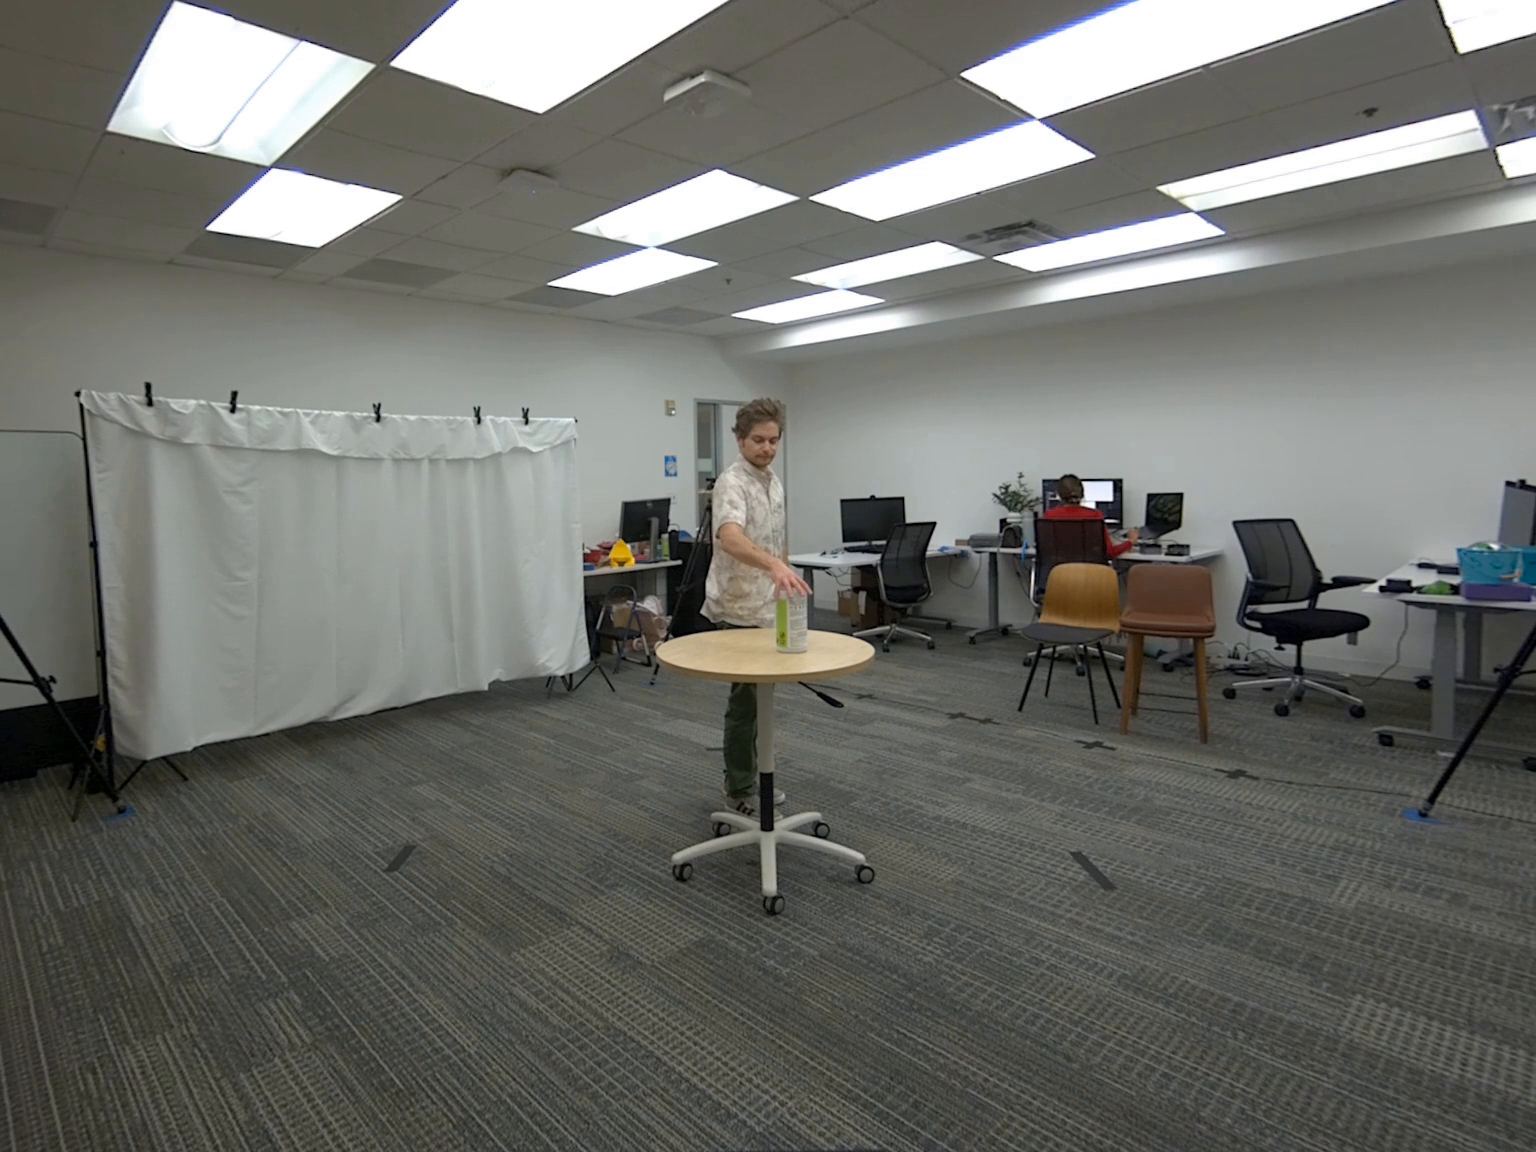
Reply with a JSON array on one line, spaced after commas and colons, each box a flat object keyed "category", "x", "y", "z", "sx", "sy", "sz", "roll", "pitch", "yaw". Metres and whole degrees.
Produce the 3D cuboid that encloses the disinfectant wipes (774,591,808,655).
[{"category": "disinfectant wipes", "x": 0.084, "y": 0.157, "z": 2.975, "sx": 0.118, "sy": 0.217, "sz": 0.118, "roll": -2, "pitch": 2, "yaw": -2}]
